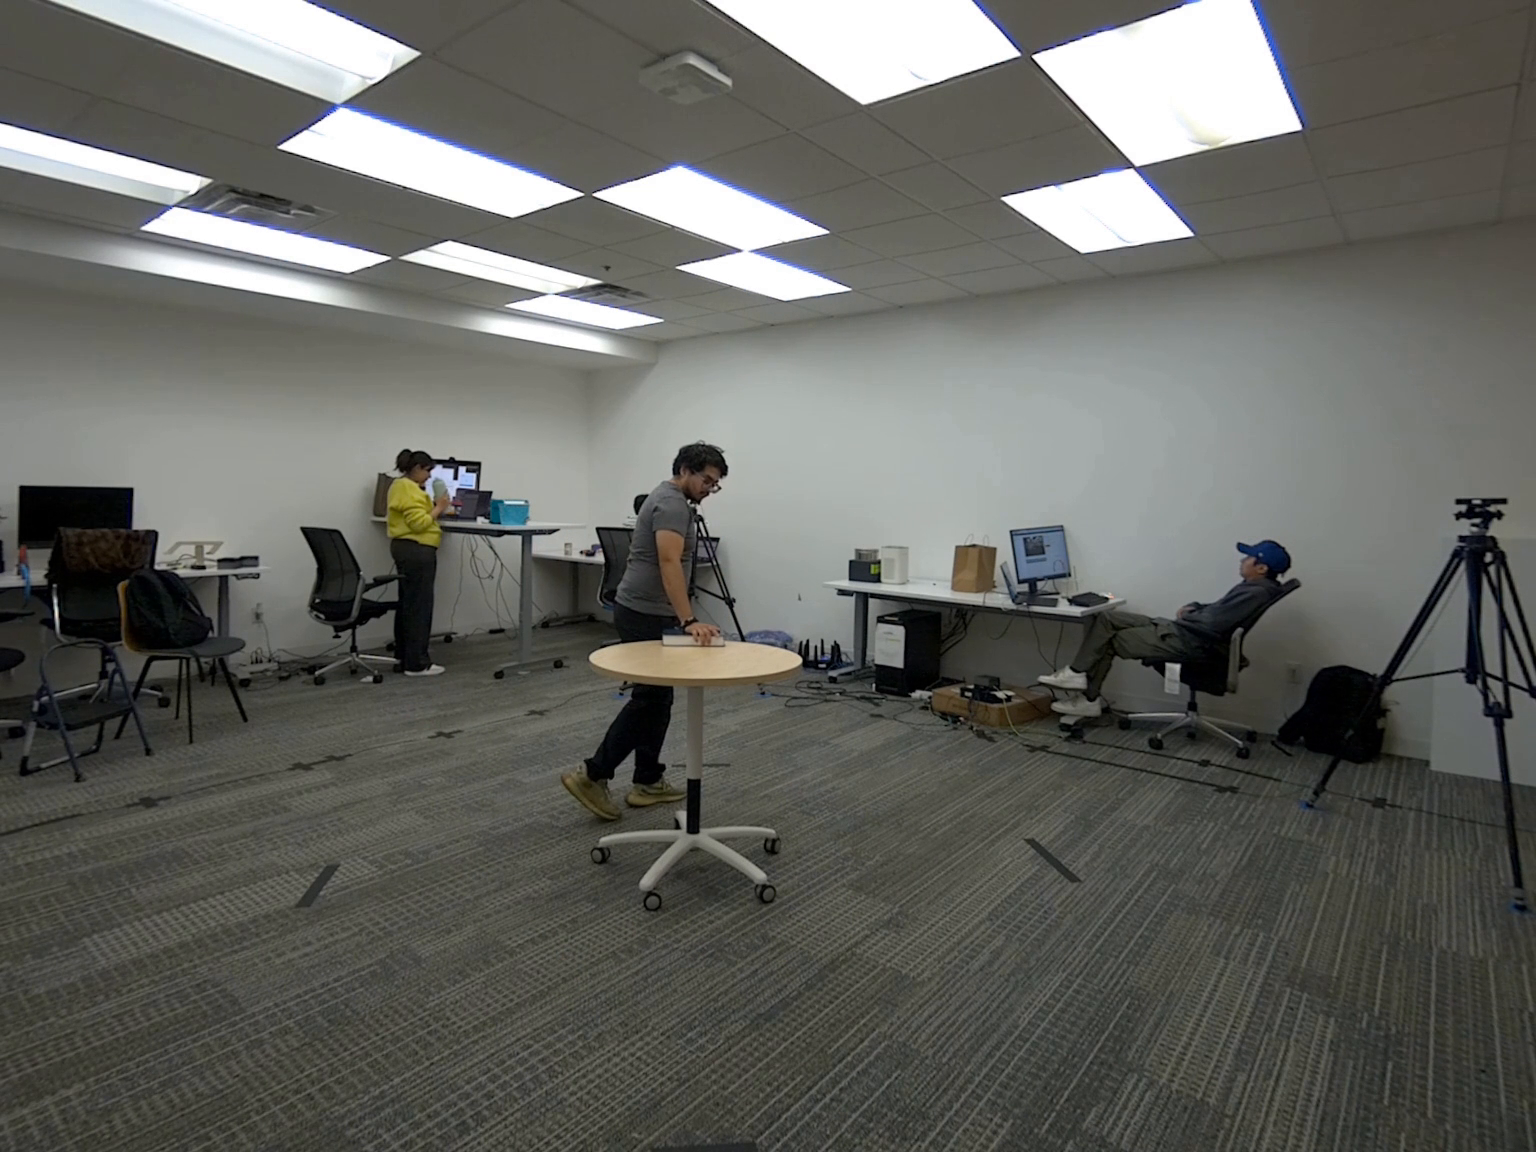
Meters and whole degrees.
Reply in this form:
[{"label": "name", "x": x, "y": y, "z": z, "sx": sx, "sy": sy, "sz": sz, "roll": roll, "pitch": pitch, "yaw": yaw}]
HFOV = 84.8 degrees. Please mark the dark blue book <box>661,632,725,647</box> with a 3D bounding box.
[{"label": "dark blue book", "x": -0.310, "y": 0.244, "z": 3.383, "sx": 0.244, "sy": 0.045, "sz": 0.165, "roll": 1, "pitch": 6, "yaw": -3}]
